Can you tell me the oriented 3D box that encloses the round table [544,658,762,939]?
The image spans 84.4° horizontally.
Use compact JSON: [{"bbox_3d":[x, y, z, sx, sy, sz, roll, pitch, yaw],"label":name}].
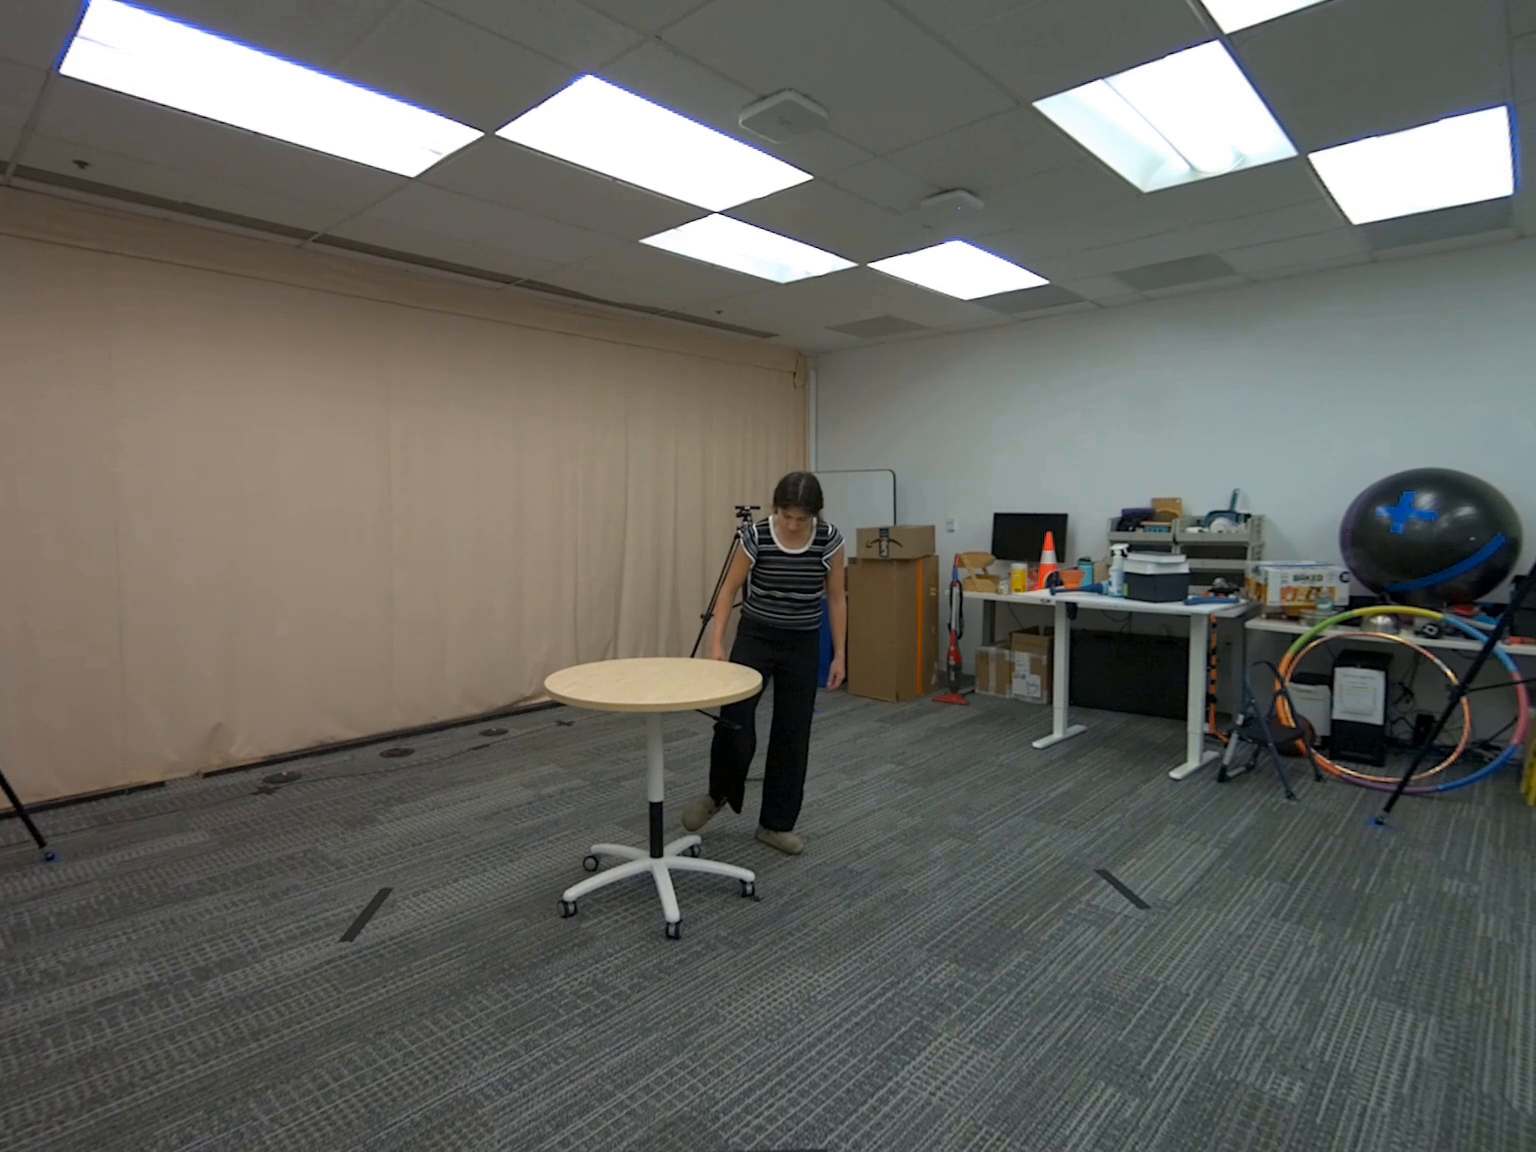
[{"bbox_3d":[-0.412,0.751,3.015,0.784,0.784,0.788,0,4,-2],"label":"round table"}]
